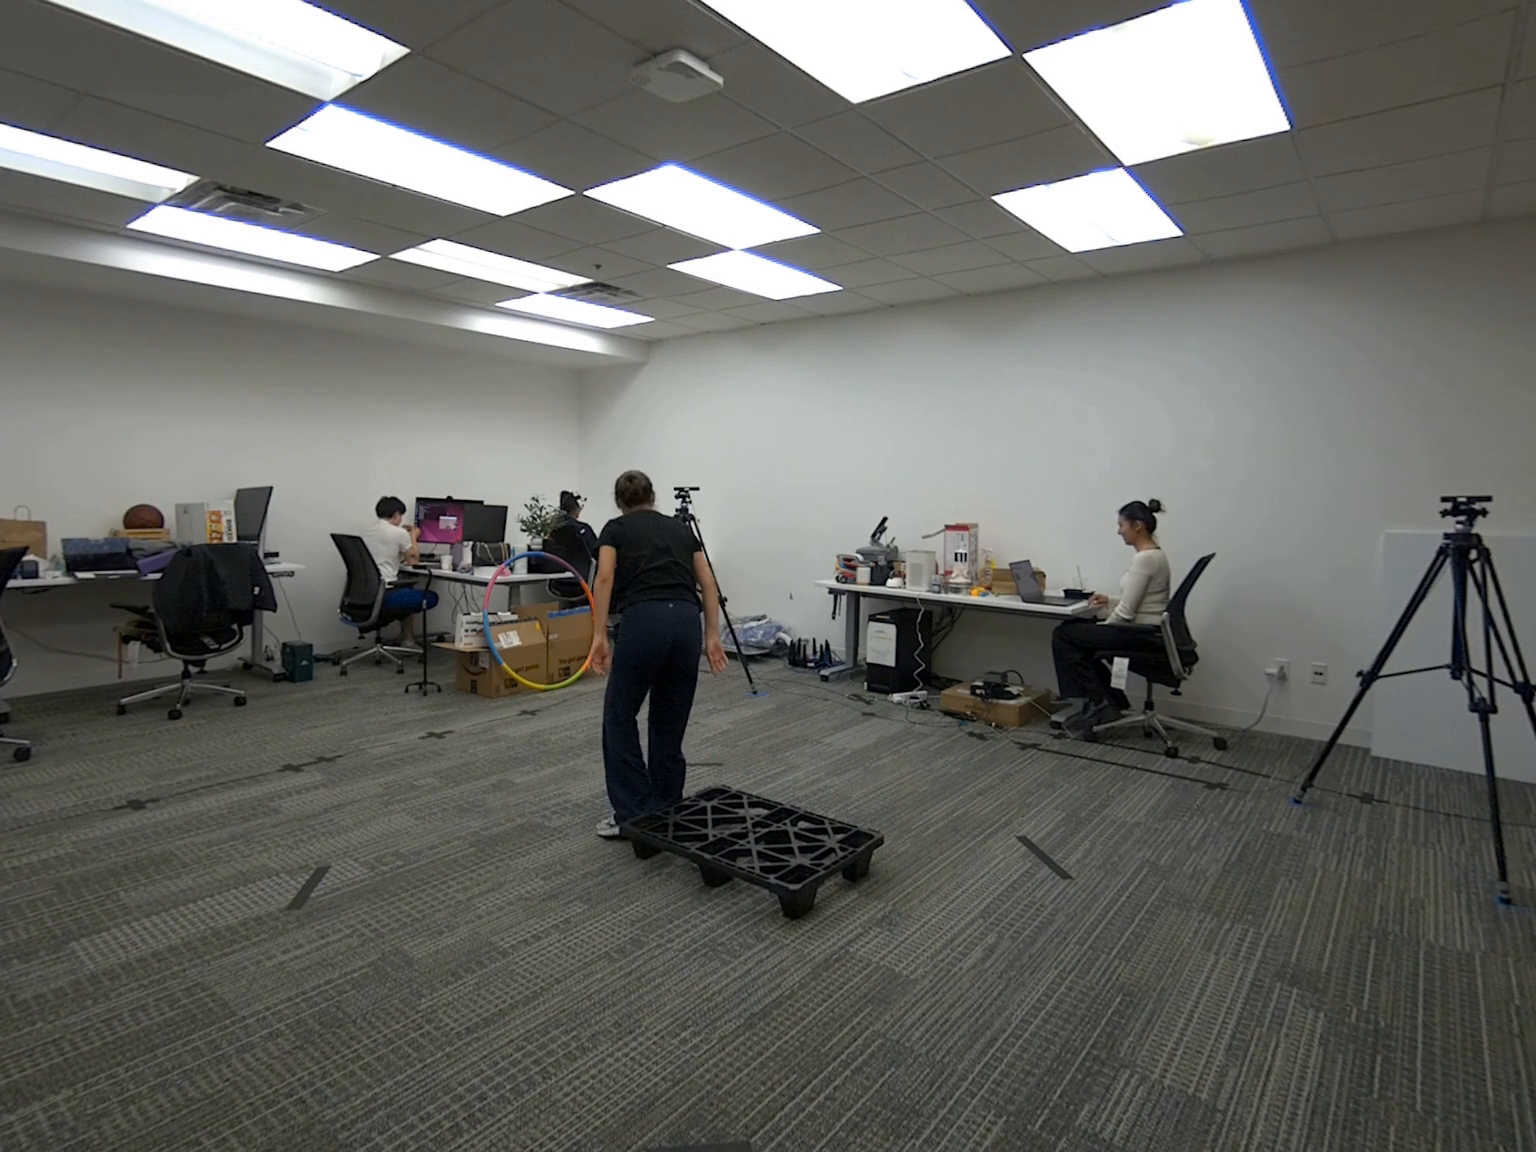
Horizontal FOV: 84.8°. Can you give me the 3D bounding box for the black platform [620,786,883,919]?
[{"bbox_3d":[-0.049,1.000,3.163,0.833,0.143,0.587,6,6,38],"label":"black platform"}]
